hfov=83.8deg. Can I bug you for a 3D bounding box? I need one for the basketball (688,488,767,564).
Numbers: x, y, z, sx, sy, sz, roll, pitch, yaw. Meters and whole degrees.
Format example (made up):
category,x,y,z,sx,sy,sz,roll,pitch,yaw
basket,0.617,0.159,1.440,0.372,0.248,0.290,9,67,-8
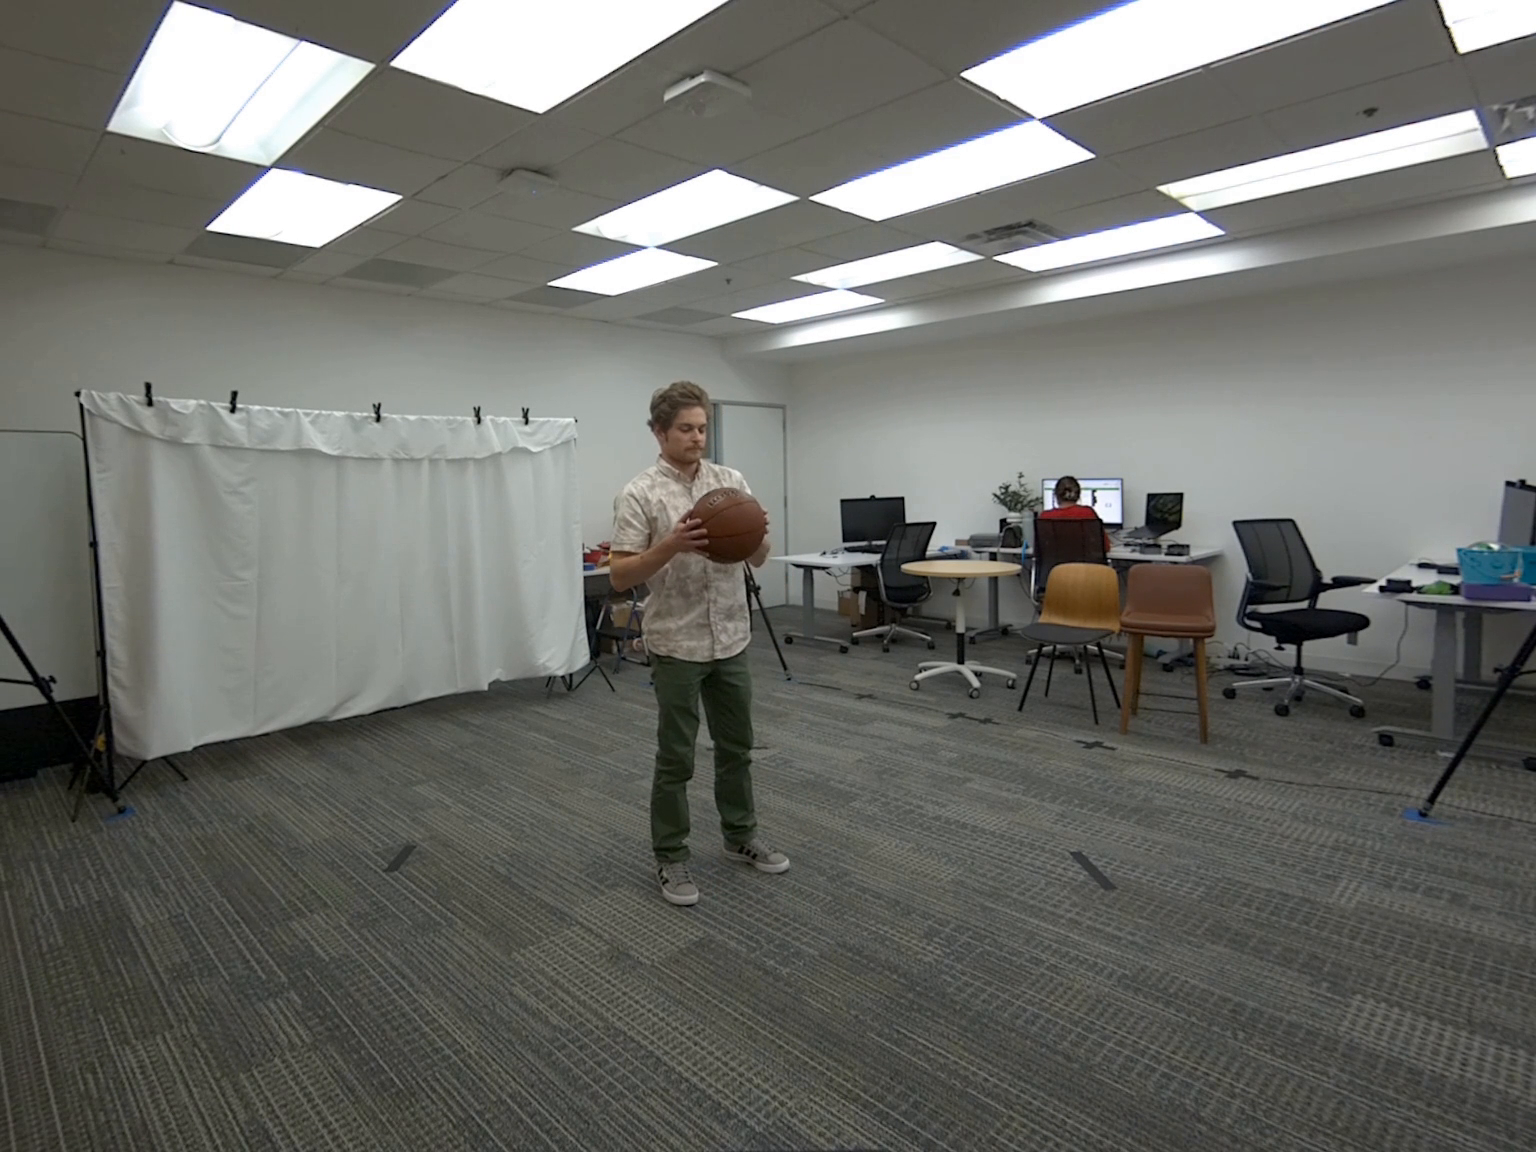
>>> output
category,x,y,z,sx,sy,sz,roll,pitch,yaw
basketball,-0.131,-0.156,2.652,0.236,0.235,0.237,-1,5,-2
